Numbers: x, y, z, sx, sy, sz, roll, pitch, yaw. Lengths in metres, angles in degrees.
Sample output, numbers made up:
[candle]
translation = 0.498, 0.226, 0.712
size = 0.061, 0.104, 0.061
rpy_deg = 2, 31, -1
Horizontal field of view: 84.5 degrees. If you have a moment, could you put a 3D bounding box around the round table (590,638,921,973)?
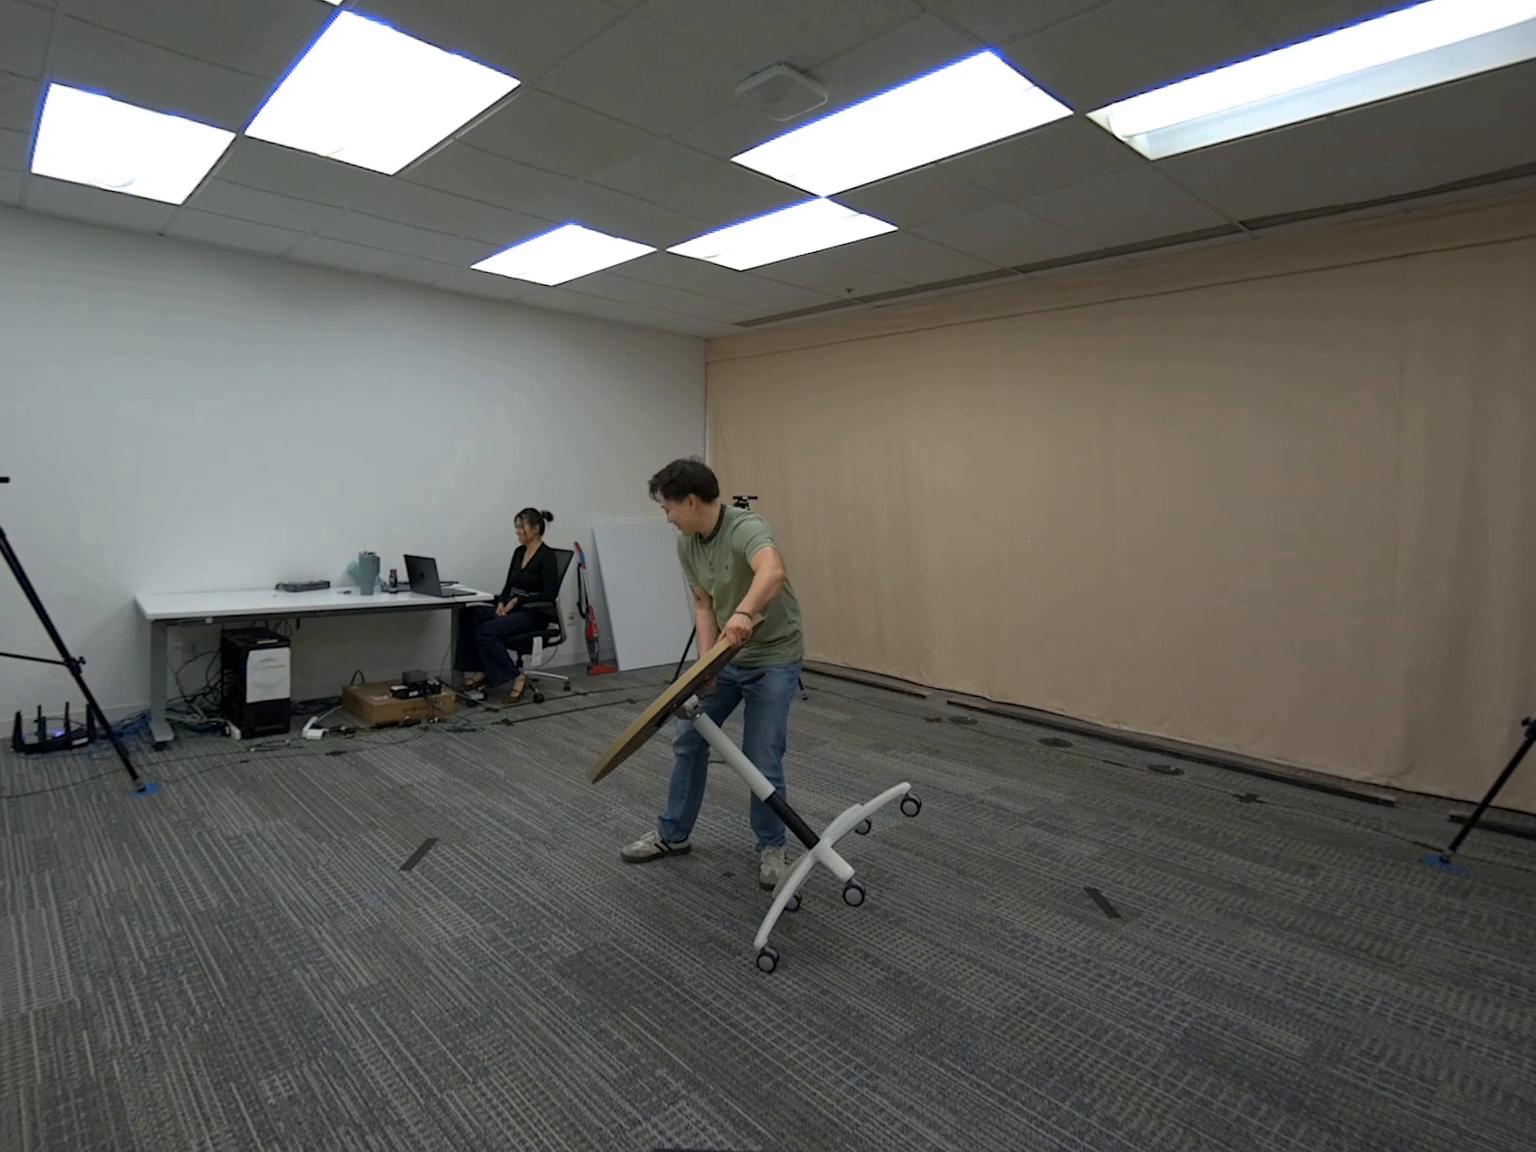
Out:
[round table]
translation = -0.027, 0.671, 2.692
size = 0.801, 0.764, 0.757
rpy_deg = 46, 12, 7
